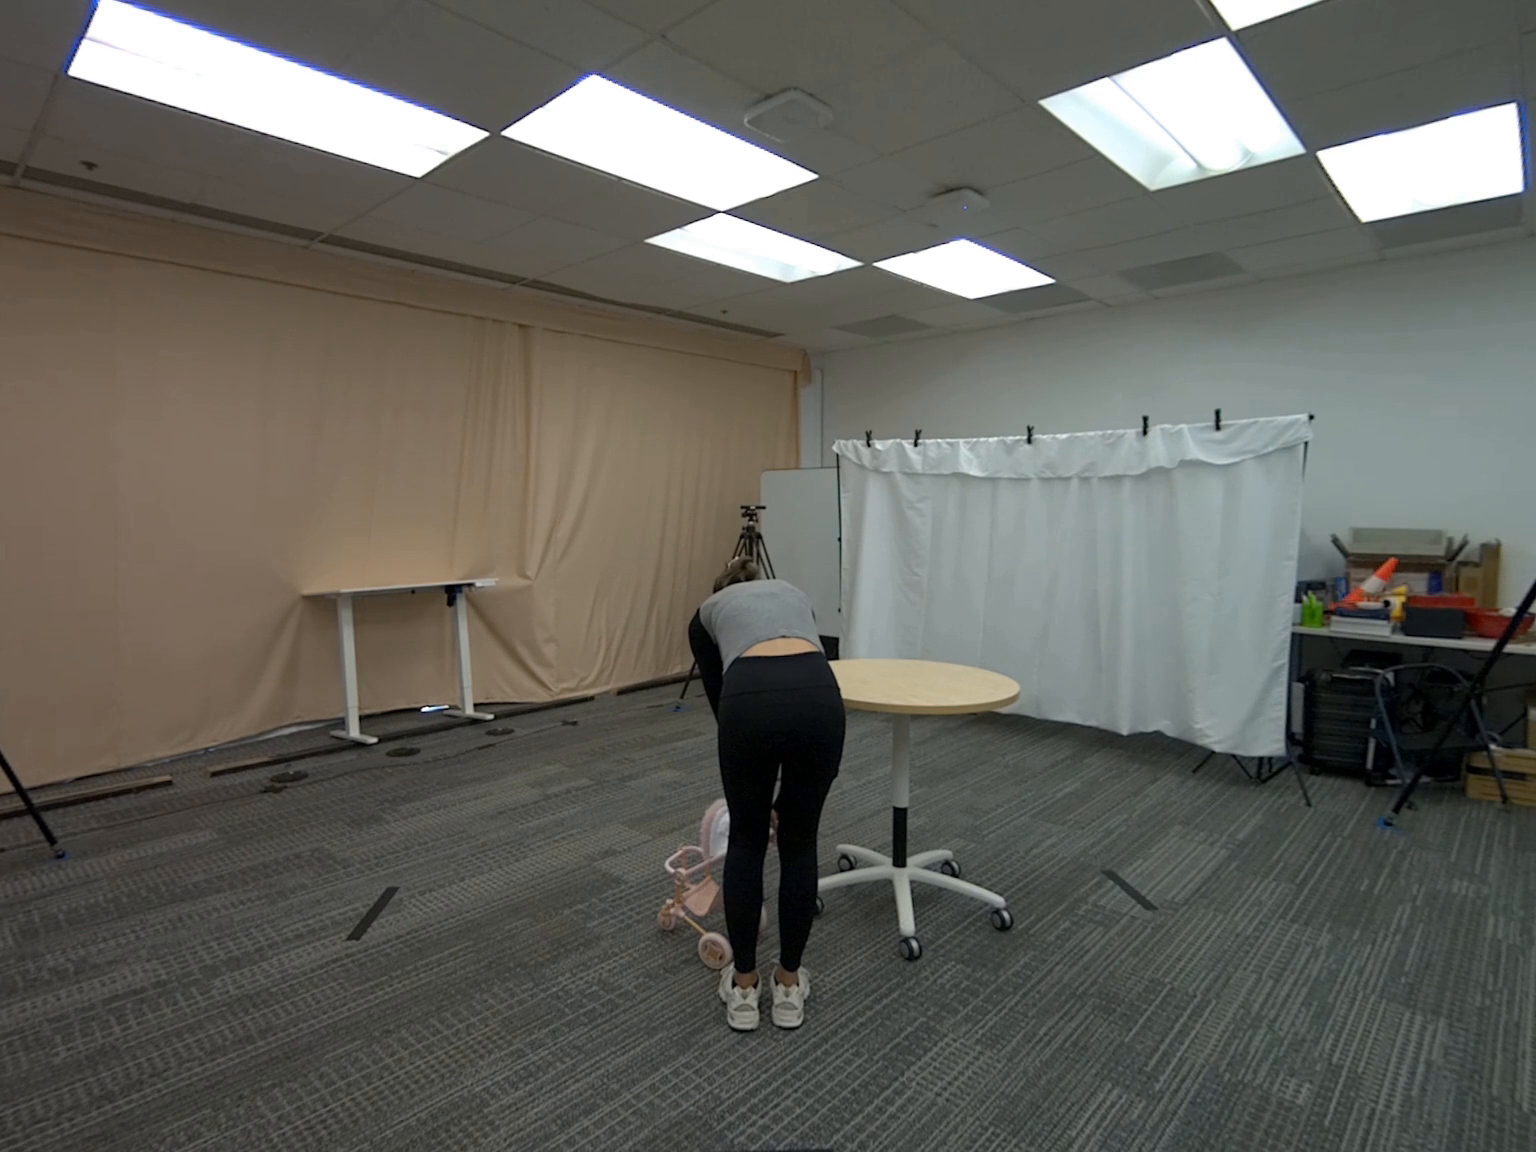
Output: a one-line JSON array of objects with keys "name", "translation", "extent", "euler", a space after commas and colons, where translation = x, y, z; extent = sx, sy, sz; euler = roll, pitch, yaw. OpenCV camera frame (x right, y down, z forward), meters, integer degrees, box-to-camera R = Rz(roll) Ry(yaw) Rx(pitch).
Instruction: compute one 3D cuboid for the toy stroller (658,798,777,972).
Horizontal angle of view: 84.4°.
[{"name": "toy stroller", "translation": [-0.163, 0.946, 2.665], "extent": [0.352, 0.533, 0.273], "euler": [19, 12, 30]}]
